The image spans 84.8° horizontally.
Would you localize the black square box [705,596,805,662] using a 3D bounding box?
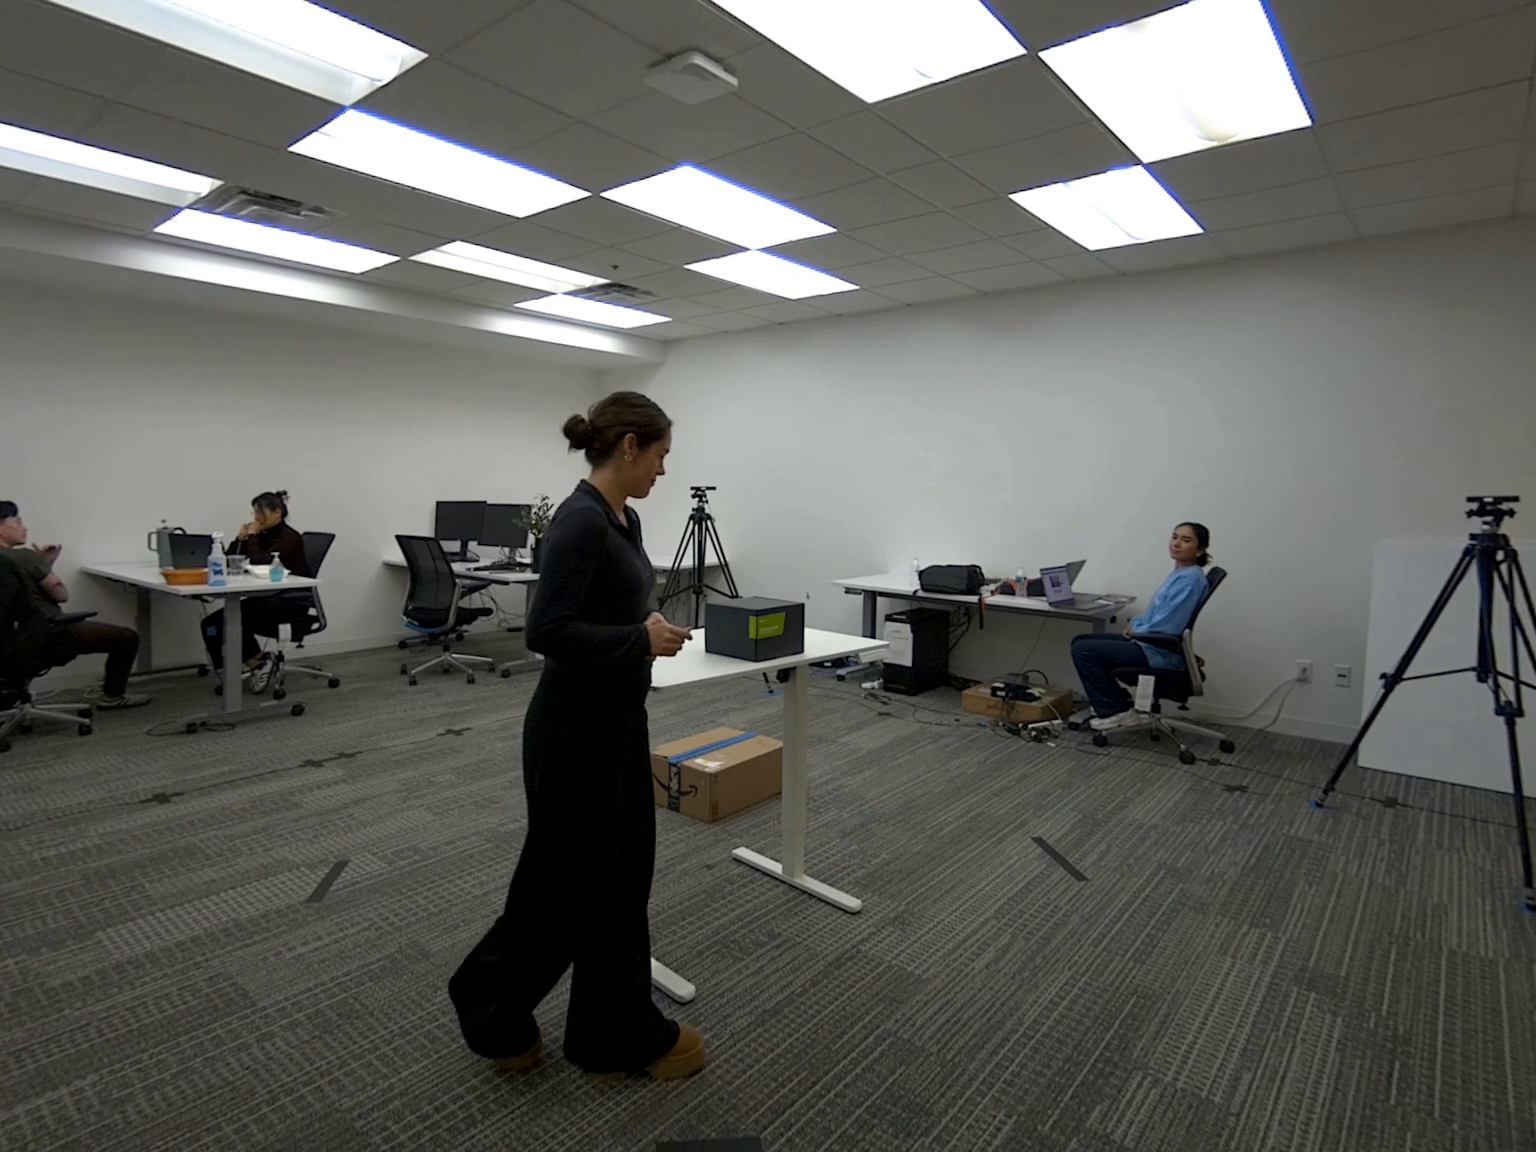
[{"bbox_3d":[-0.048,0.156,2.621,0.224,0.155,0.221,5,6,42],"label":"black square box"}]
